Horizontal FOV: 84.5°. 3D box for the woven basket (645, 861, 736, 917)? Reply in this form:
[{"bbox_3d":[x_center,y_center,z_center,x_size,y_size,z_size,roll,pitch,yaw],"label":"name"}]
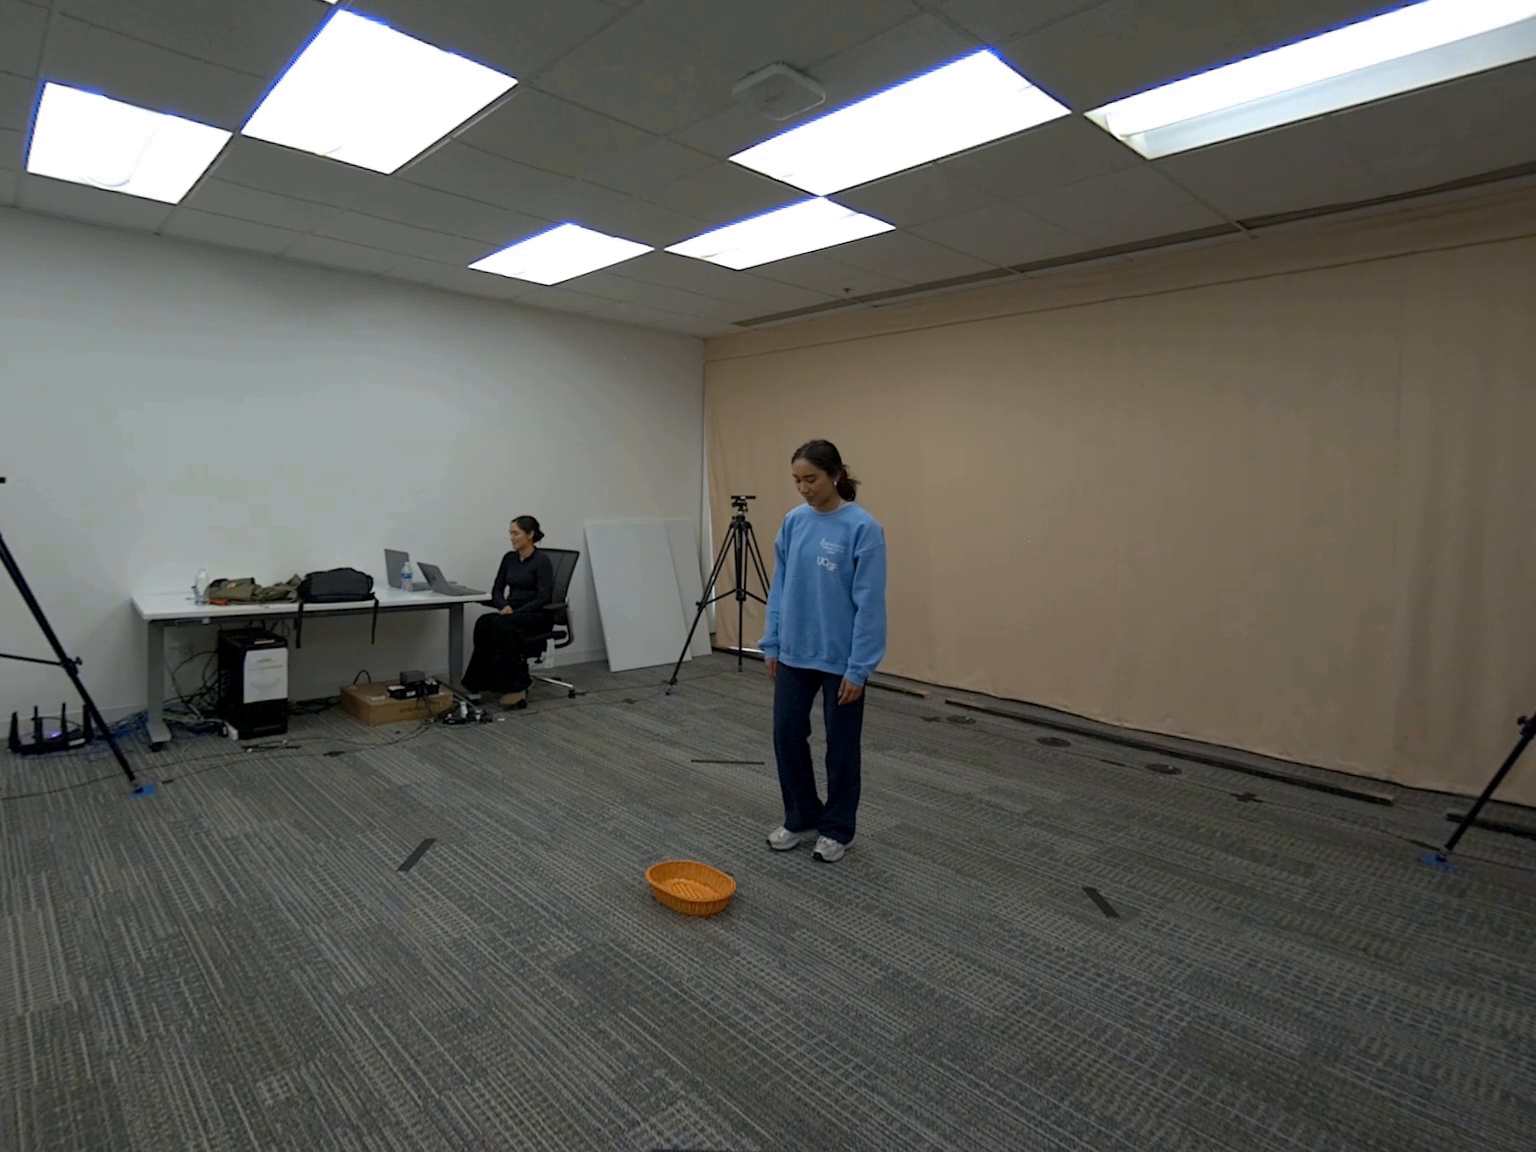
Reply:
[{"bbox_3d":[-0.275,1.080,2.910,0.246,0.073,0.359,-3,6,-45],"label":"woven basket"}]
